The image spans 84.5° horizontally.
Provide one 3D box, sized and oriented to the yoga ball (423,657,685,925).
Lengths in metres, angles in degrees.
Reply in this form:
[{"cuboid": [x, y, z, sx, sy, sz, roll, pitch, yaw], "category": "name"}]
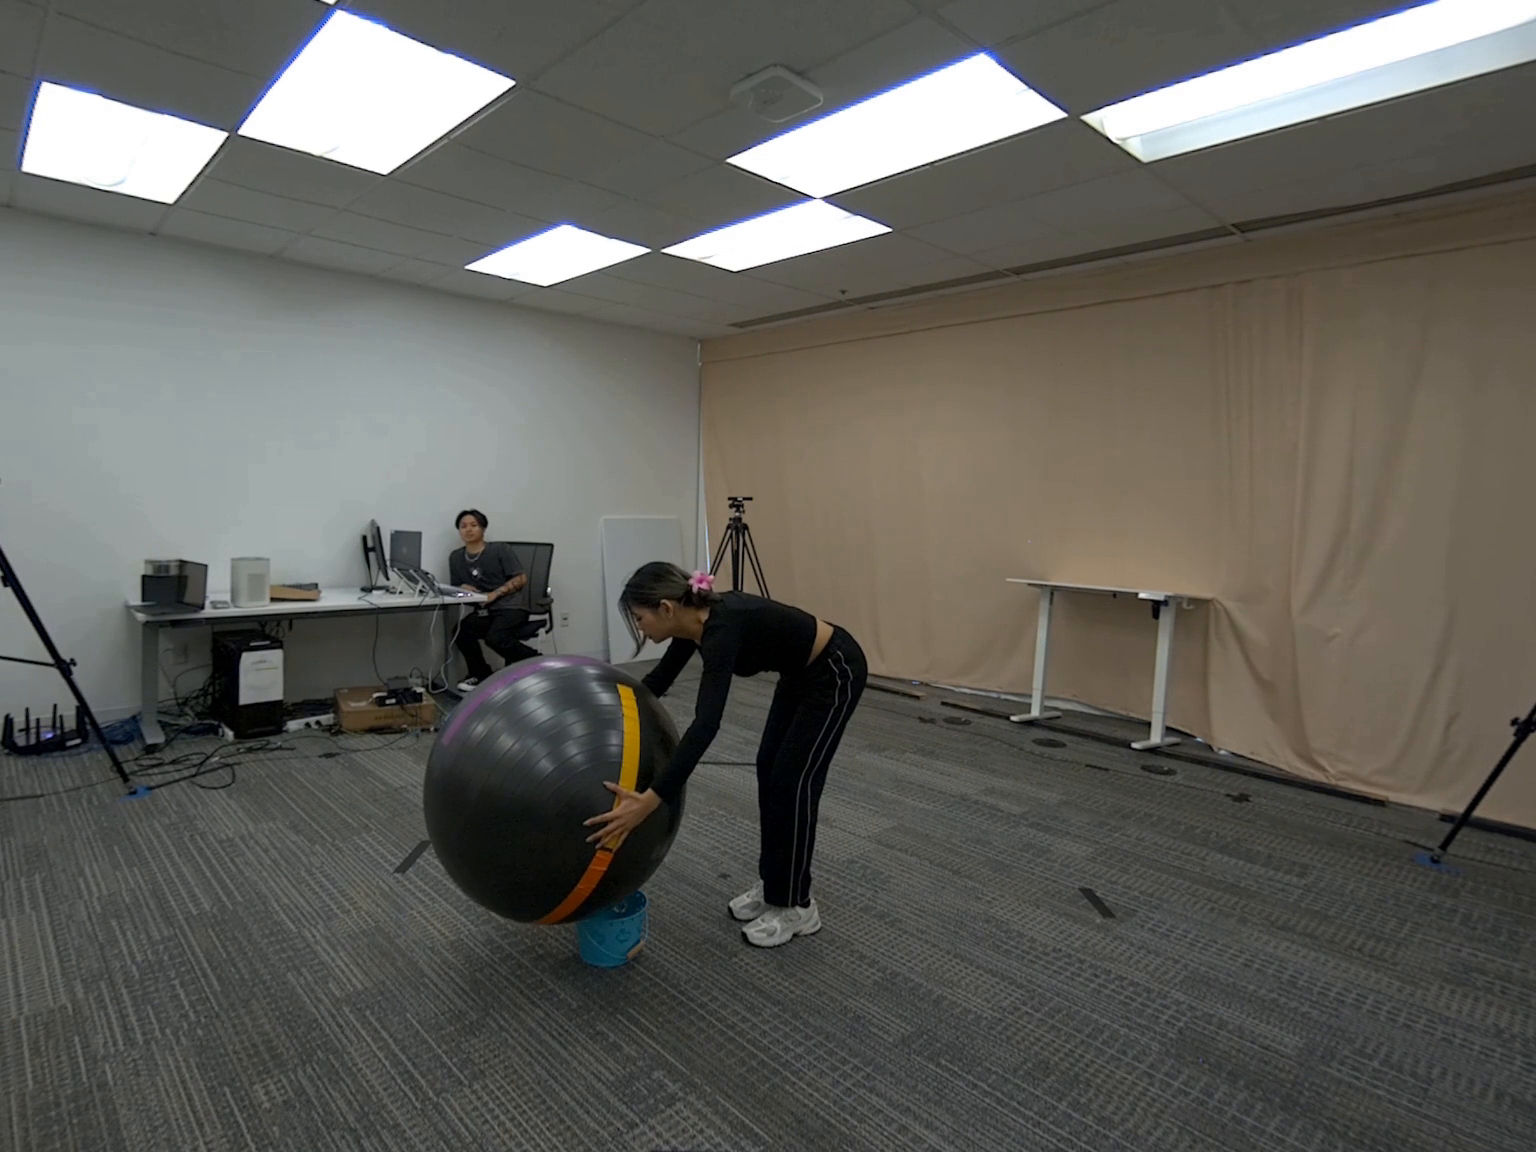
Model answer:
[{"cuboid": [-0.625, 0.620, 2.482, 0.757, 0.756, 0.761, 1, 4, -1], "category": "yoga ball"}]
